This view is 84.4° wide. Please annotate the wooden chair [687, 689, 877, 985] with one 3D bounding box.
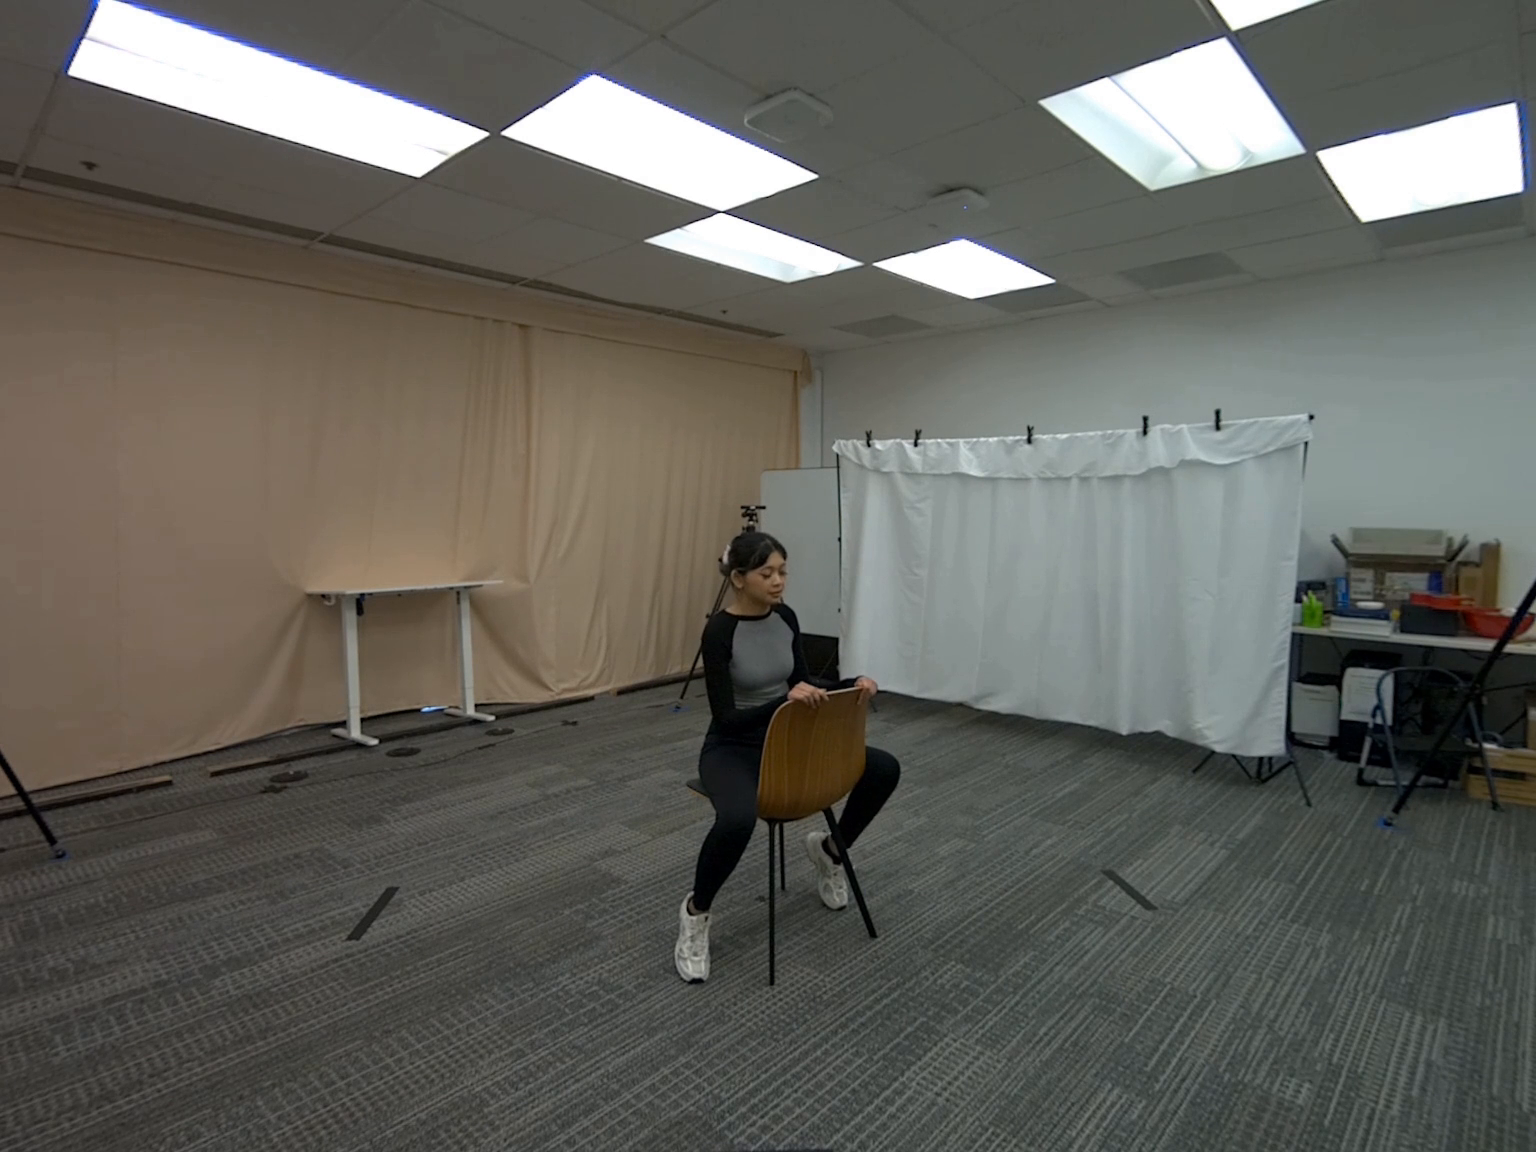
[{"bbox_3d":[0.030,0.740,2.729,0.464,0.873,0.541,-3,9,-39],"label":"wooden chair"}]
